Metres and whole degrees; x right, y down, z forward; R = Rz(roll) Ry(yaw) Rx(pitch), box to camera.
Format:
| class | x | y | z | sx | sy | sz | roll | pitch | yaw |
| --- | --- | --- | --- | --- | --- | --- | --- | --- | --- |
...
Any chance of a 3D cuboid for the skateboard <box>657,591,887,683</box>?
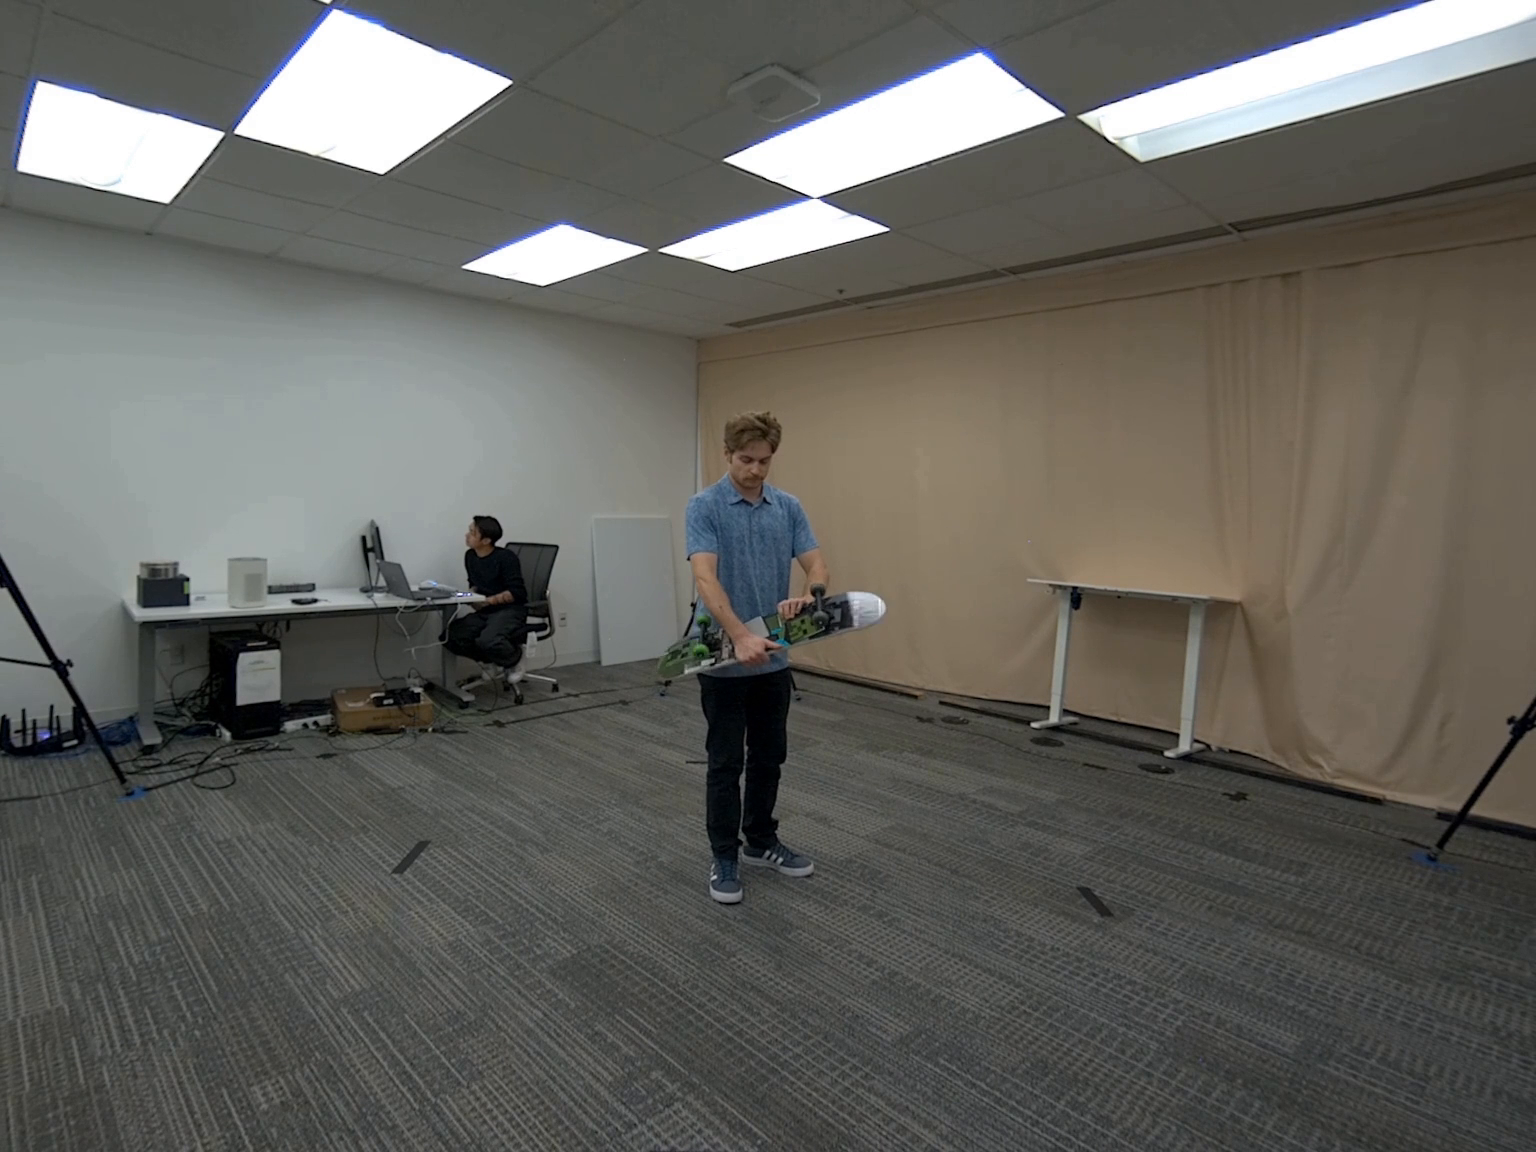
| class | x | y | z | sx | sy | sz | roll | pitch | yaw |
| --- | --- | --- | --- | --- | --- | --- | --- | --- | --- |
| skateboard | -0.016 | 0.173 | 2.710 | 0.792 | 0.107 | 0.197 | -15 | 32 | 14 |
